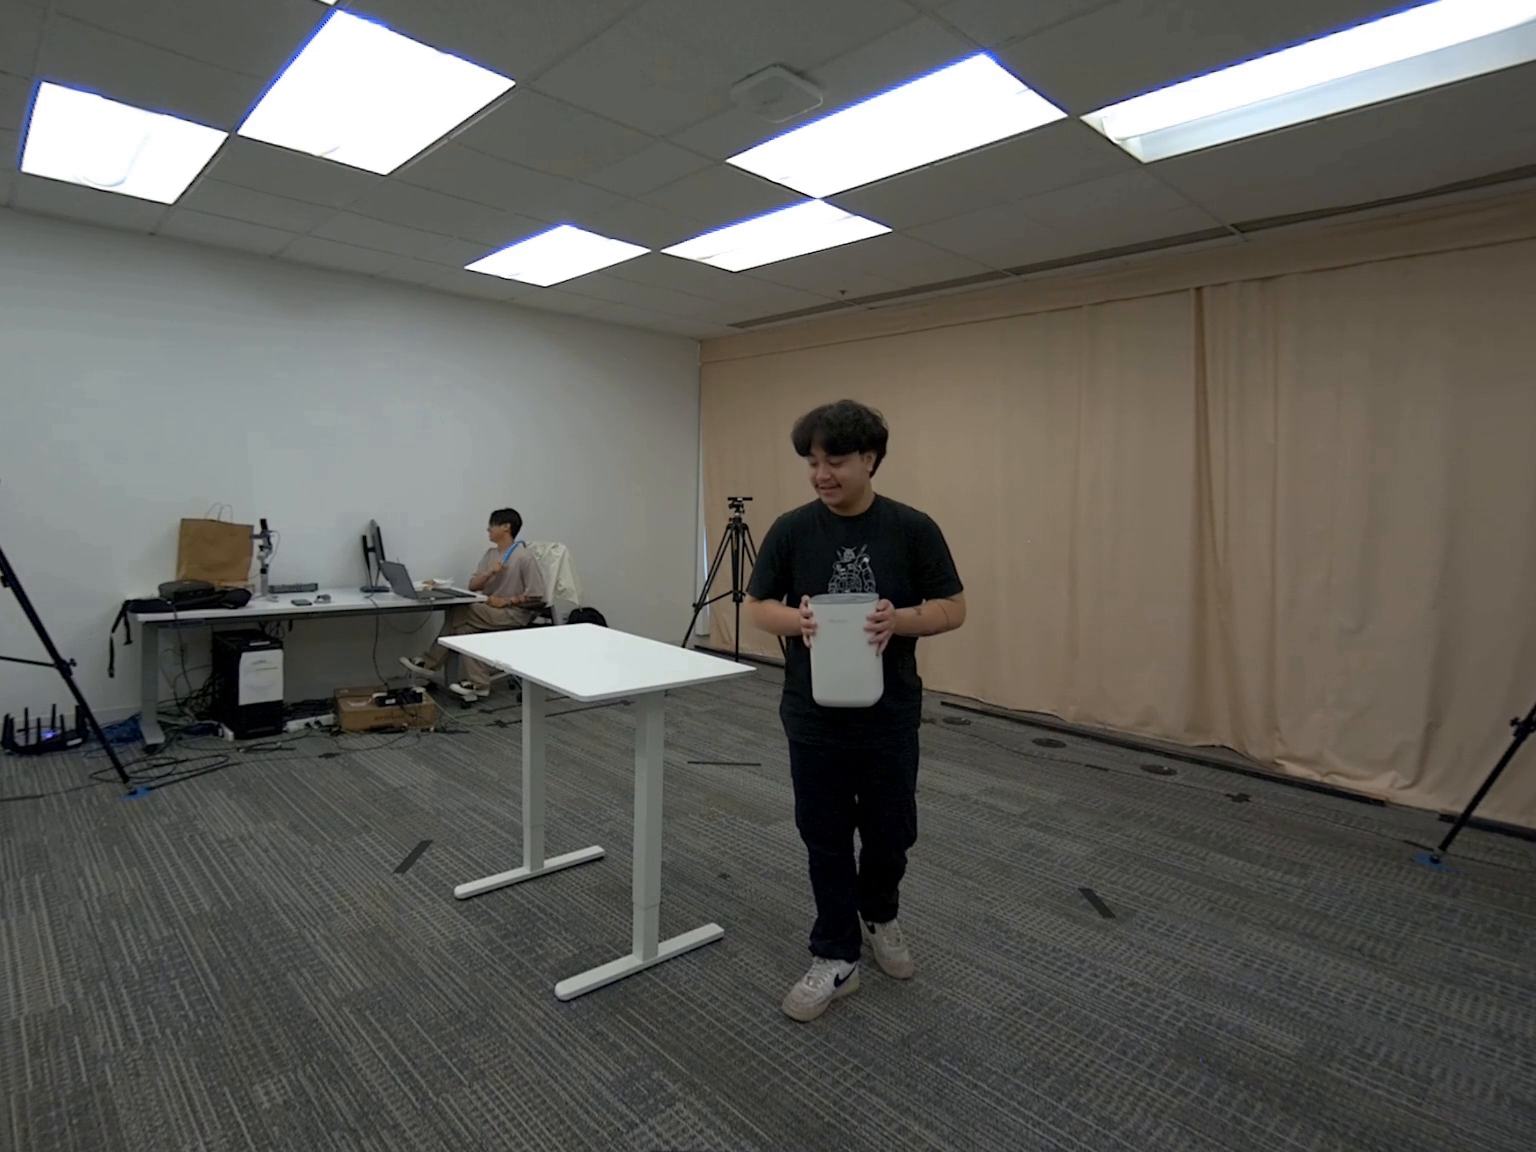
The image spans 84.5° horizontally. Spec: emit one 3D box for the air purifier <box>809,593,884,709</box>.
[{"bbox_3d":[0.189,0.192,2.122,0.173,0.264,0.170,0,5,17],"label":"air purifier"}]
